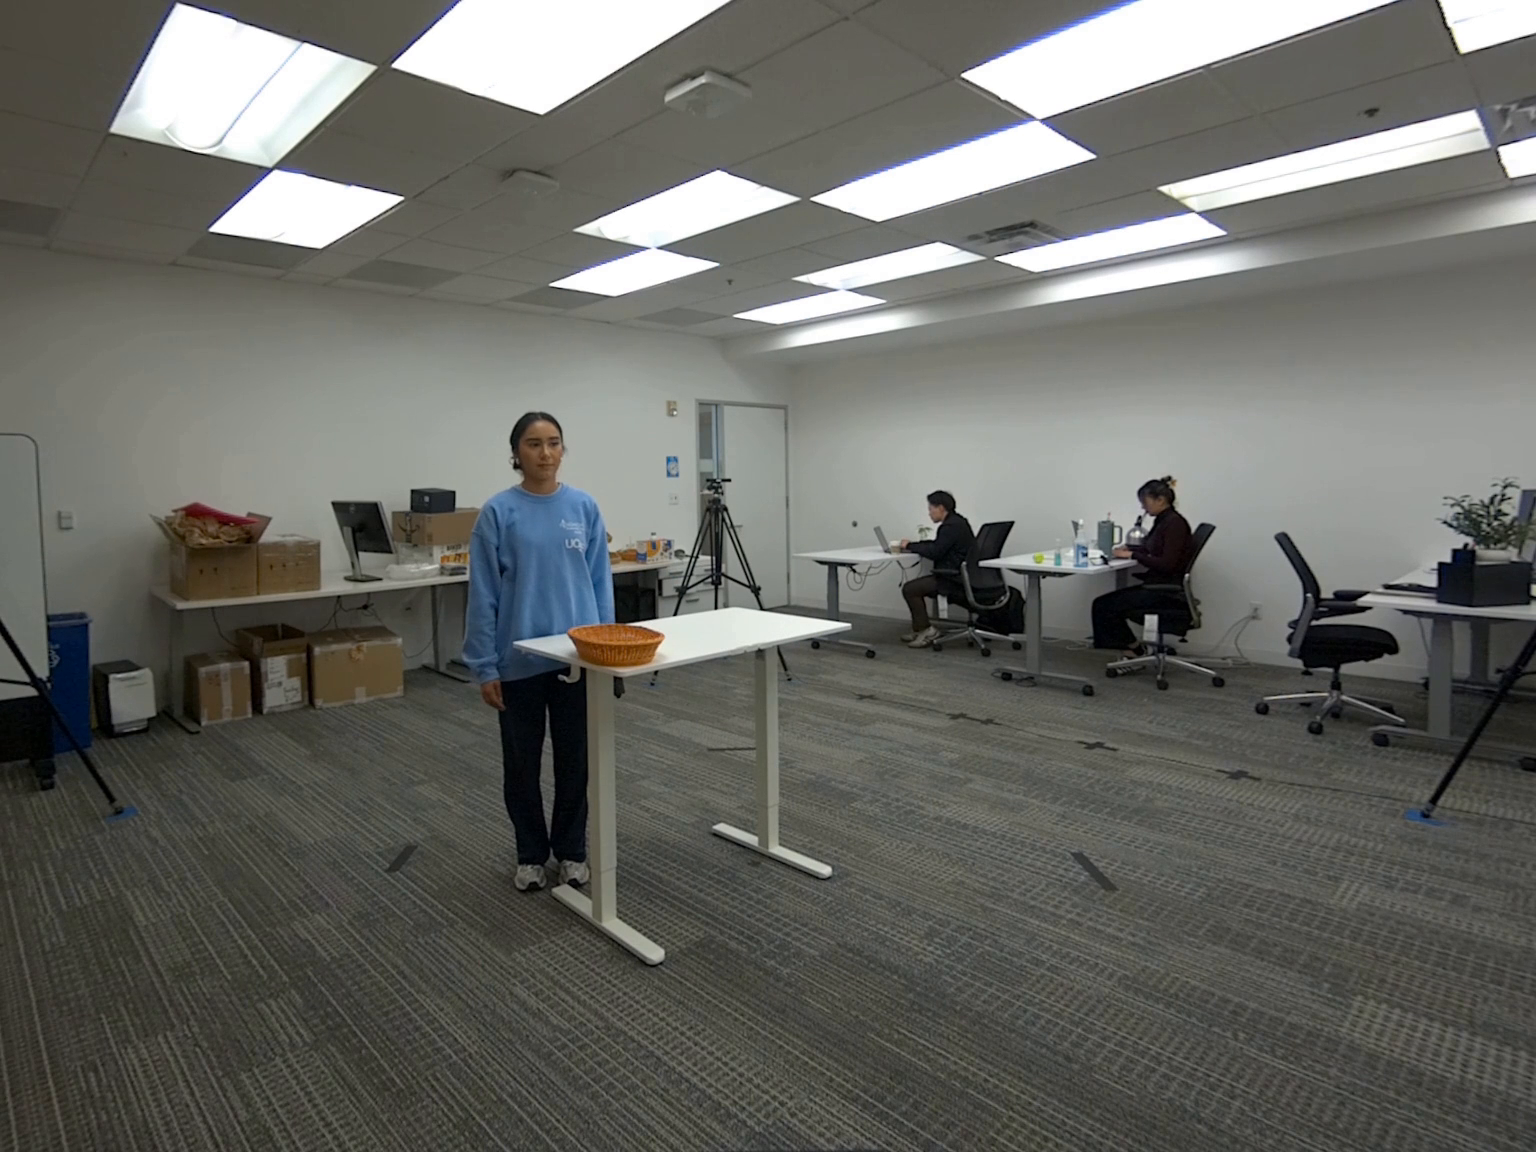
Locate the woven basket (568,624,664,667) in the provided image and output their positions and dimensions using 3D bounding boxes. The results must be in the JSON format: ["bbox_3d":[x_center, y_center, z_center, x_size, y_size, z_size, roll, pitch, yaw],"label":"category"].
[{"bbox_3d":[-0.446,0.212,2.502,0.246,0.073,0.361,-4,7,-32],"label":"woven basket"}]
